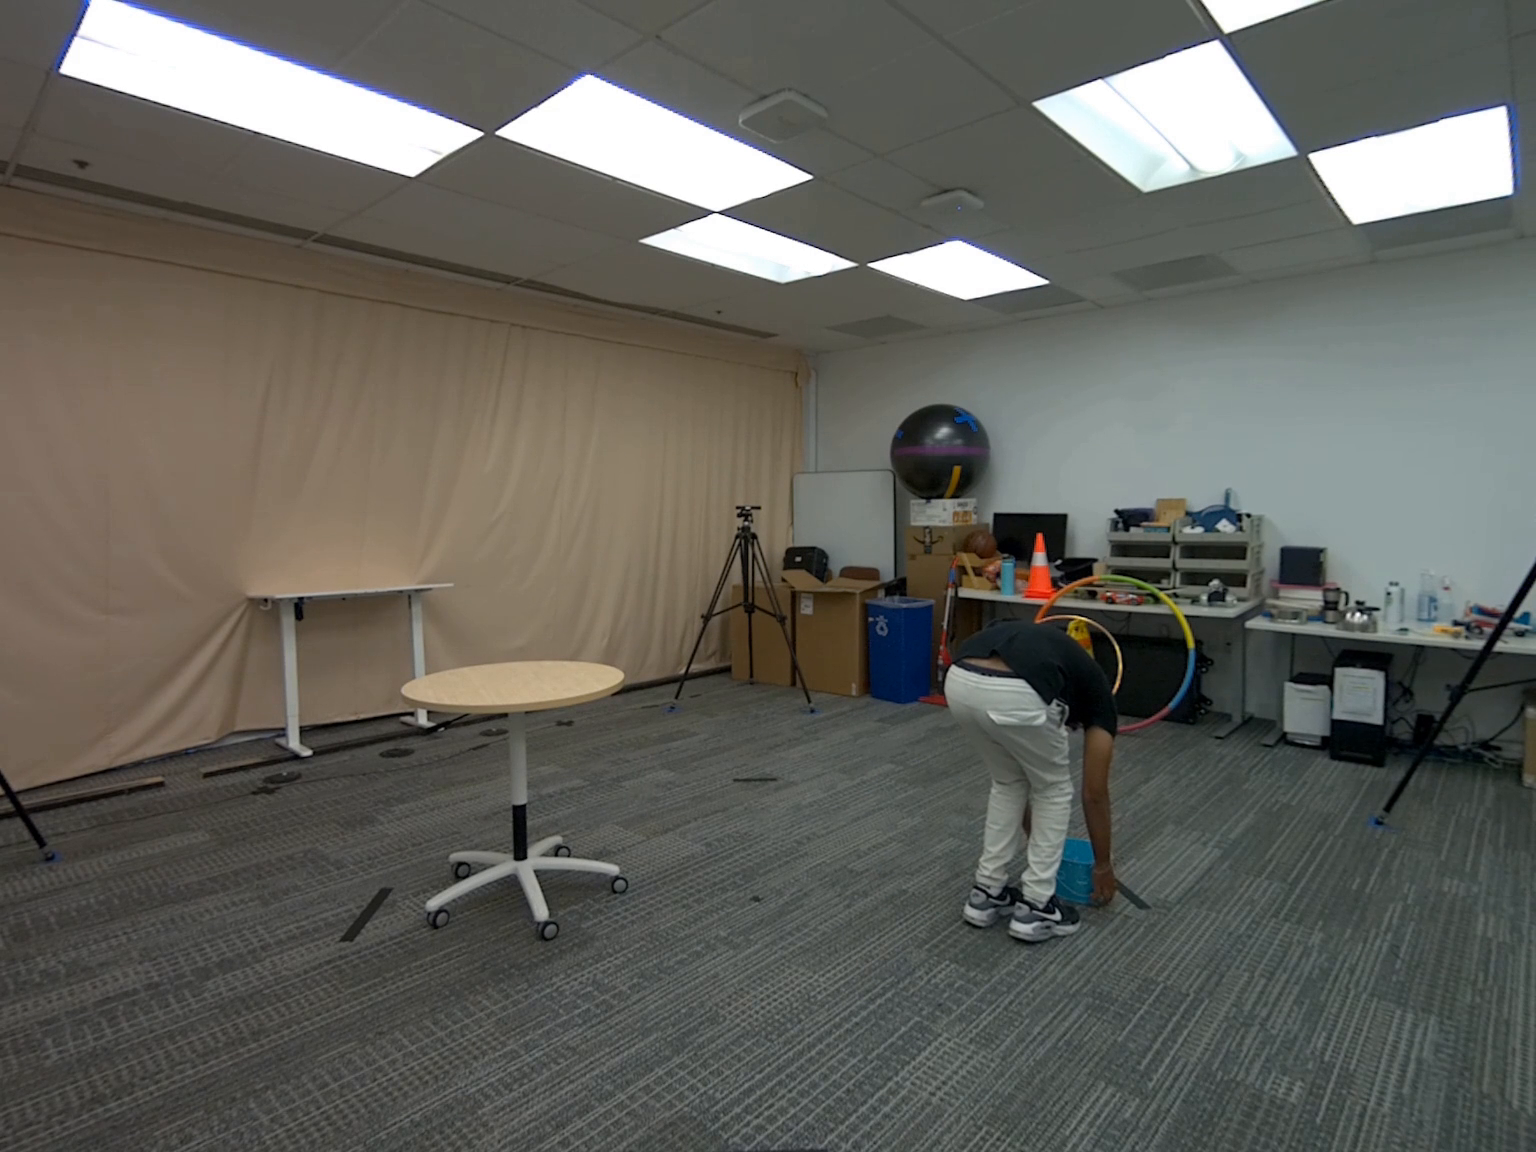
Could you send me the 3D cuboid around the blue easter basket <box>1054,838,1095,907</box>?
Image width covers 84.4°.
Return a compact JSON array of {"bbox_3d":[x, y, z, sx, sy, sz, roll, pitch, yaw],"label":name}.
[{"bbox_3d":[1.118,1.065,3.027,0.243,0.156,0.244,-1,2,-2],"label":"blue easter basket"}]
